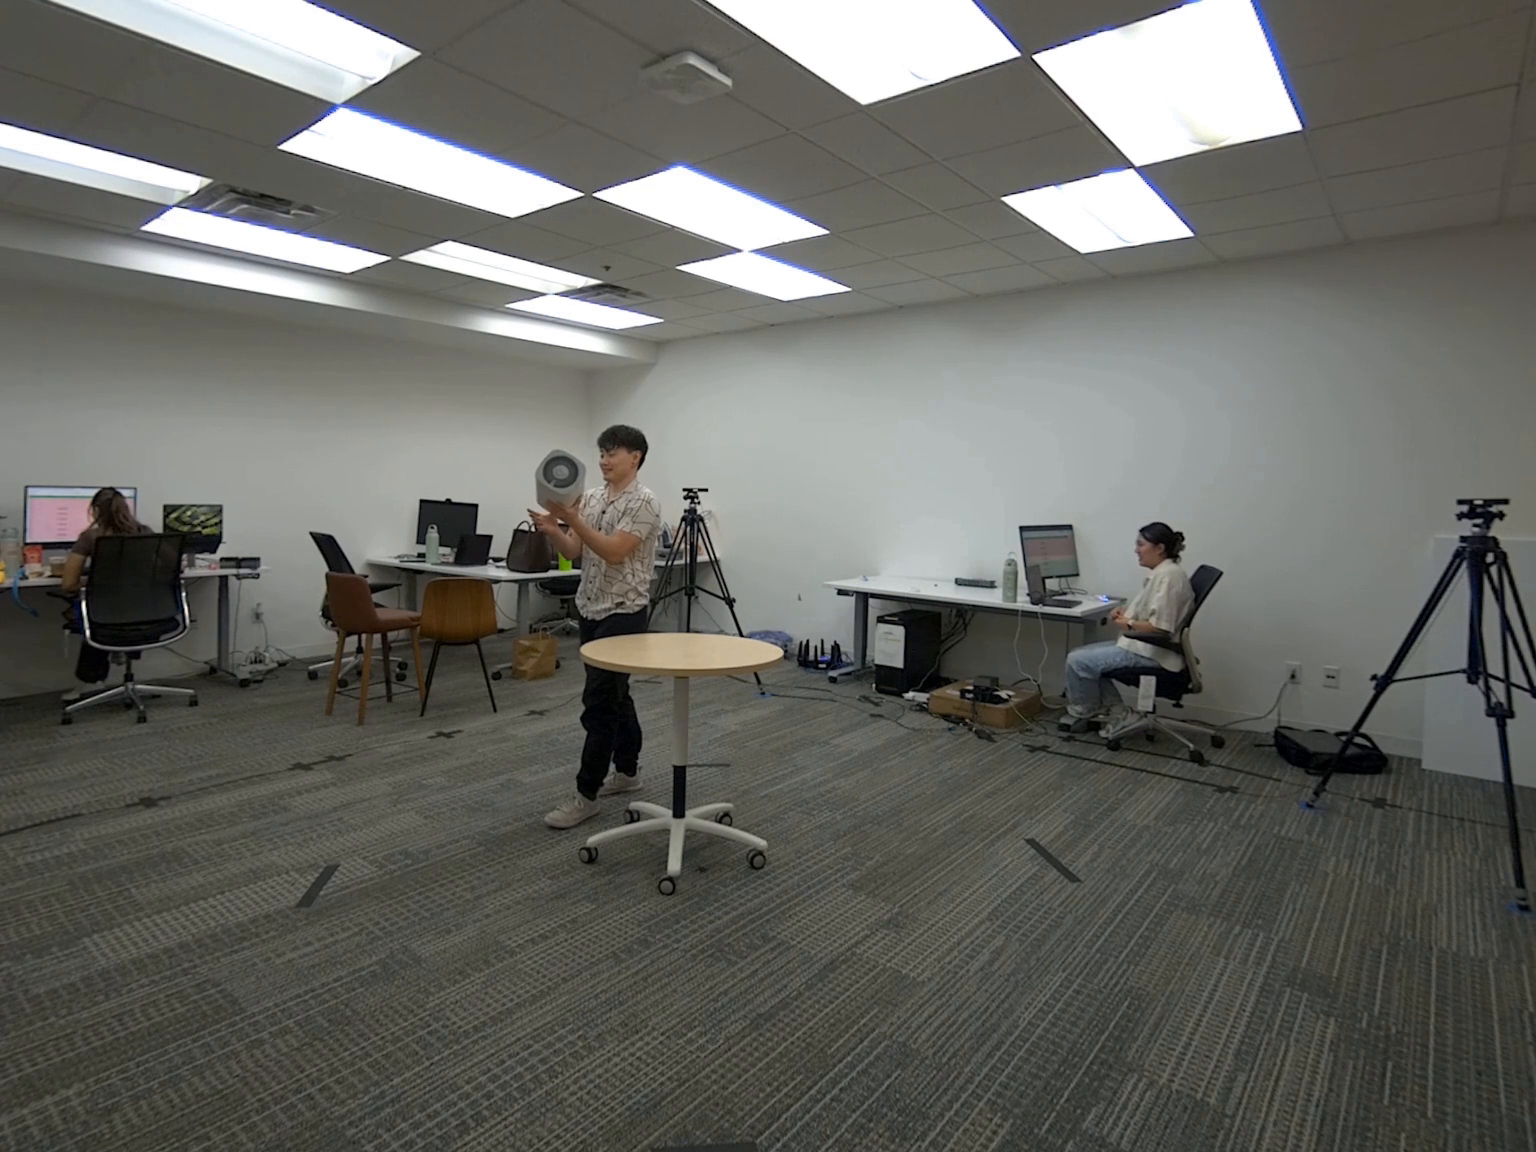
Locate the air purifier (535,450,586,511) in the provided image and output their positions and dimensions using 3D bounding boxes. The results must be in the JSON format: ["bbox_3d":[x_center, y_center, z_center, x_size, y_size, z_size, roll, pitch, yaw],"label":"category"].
[{"bbox_3d":[-0.863,-0.377,3.460,0.171,0.173,0.264,30,-23,-2],"label":"air purifier"}]
